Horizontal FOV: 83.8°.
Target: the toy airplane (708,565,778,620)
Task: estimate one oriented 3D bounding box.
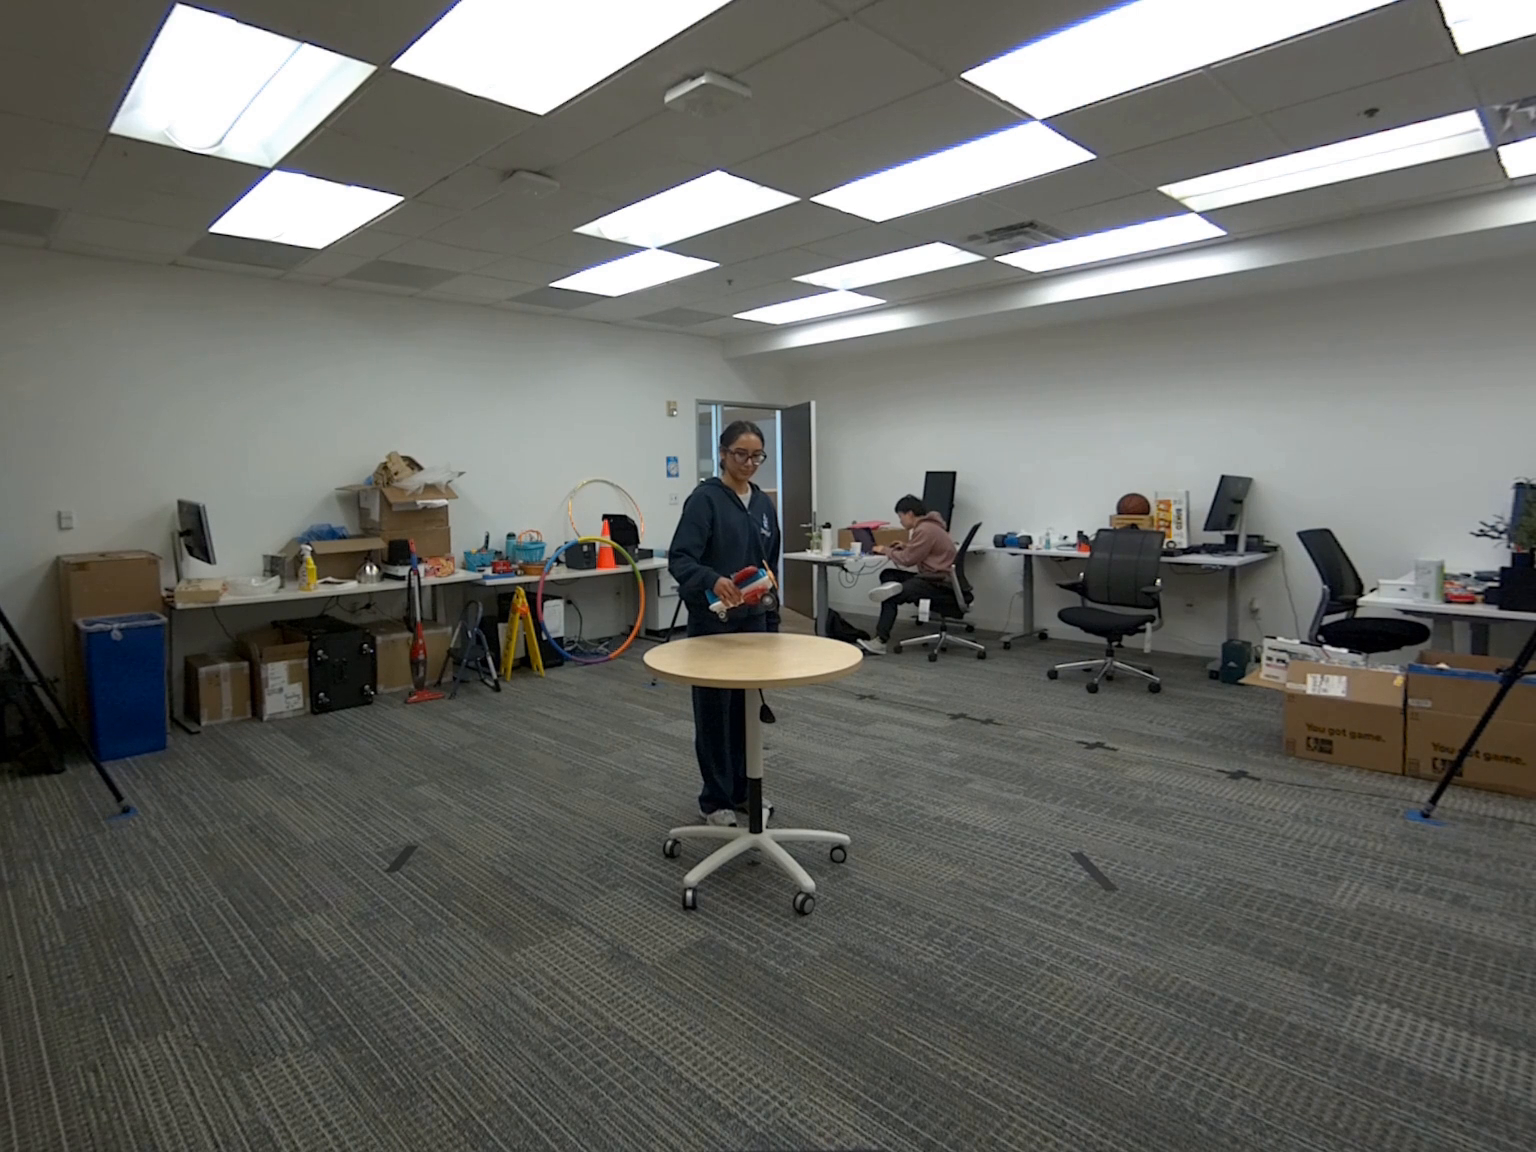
[{"bbox_3d":[-0.091,0.067,3.120,0.255,0.158,0.252,-11,-11,-22],"label":"toy airplane"}]
